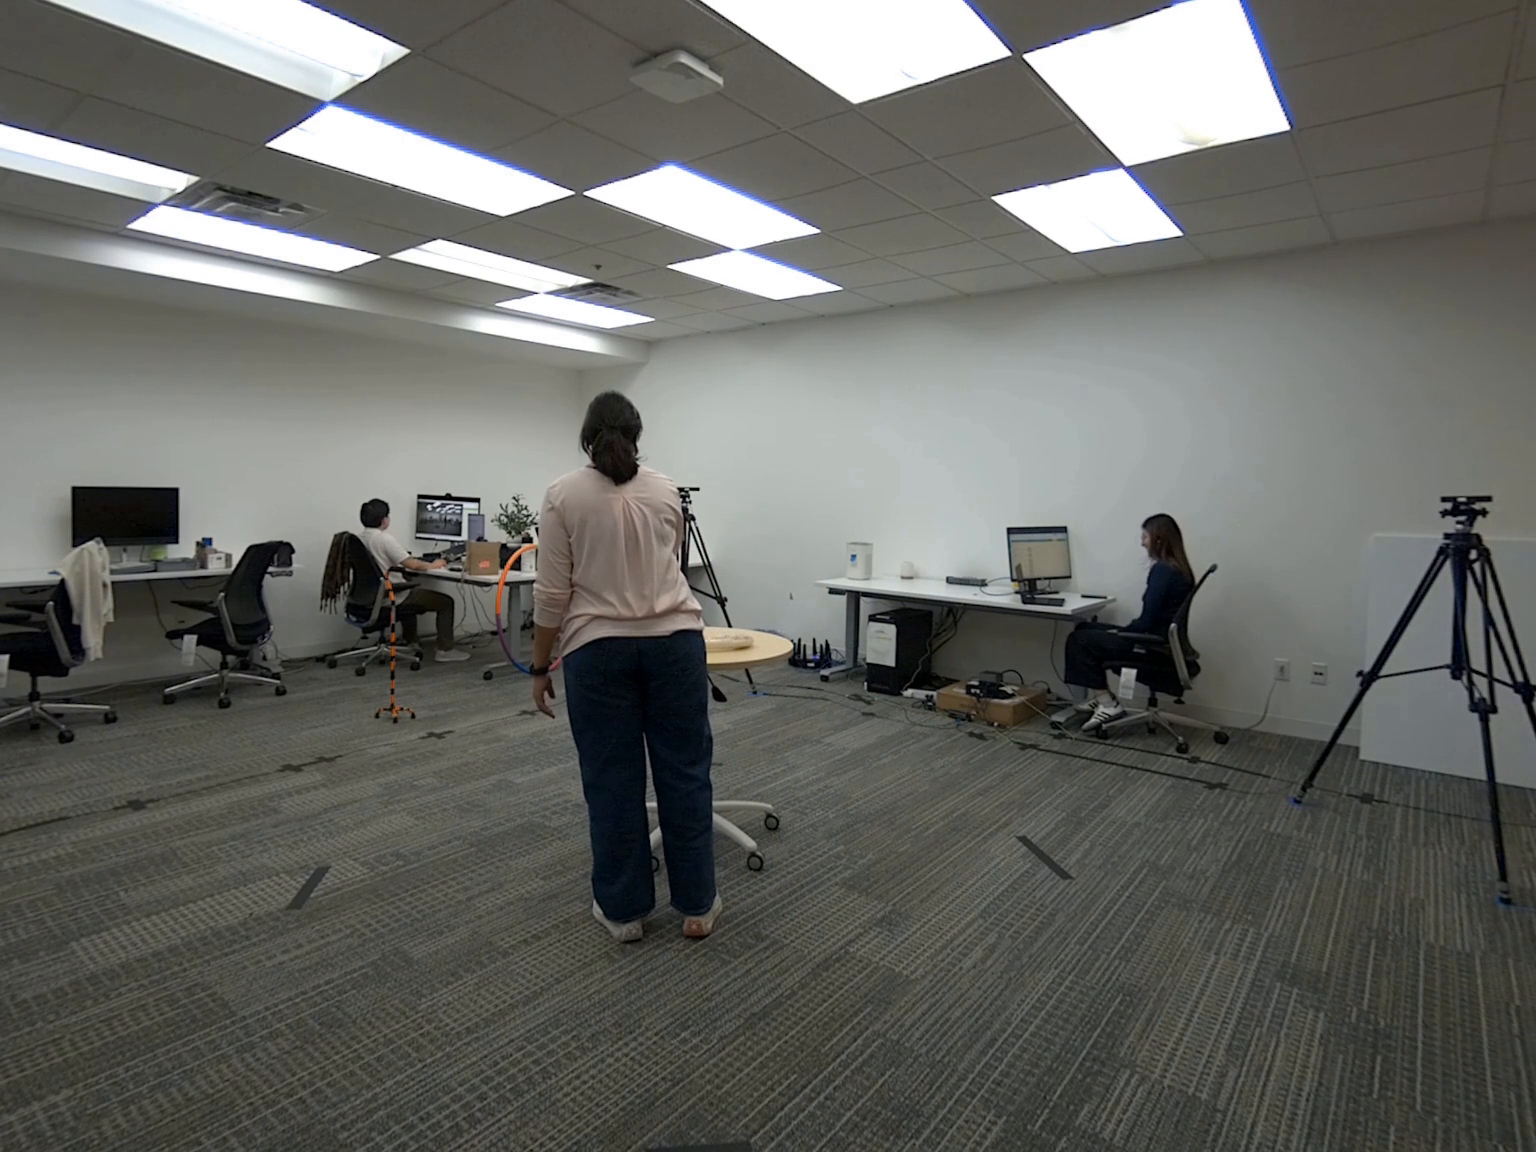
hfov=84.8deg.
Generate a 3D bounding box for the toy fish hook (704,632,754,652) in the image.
[{"bbox_3d":[-0.302,0.262,3.215,0.493,0.048,0.230,-2,1,-30],"label":"toy fish hook"}]
